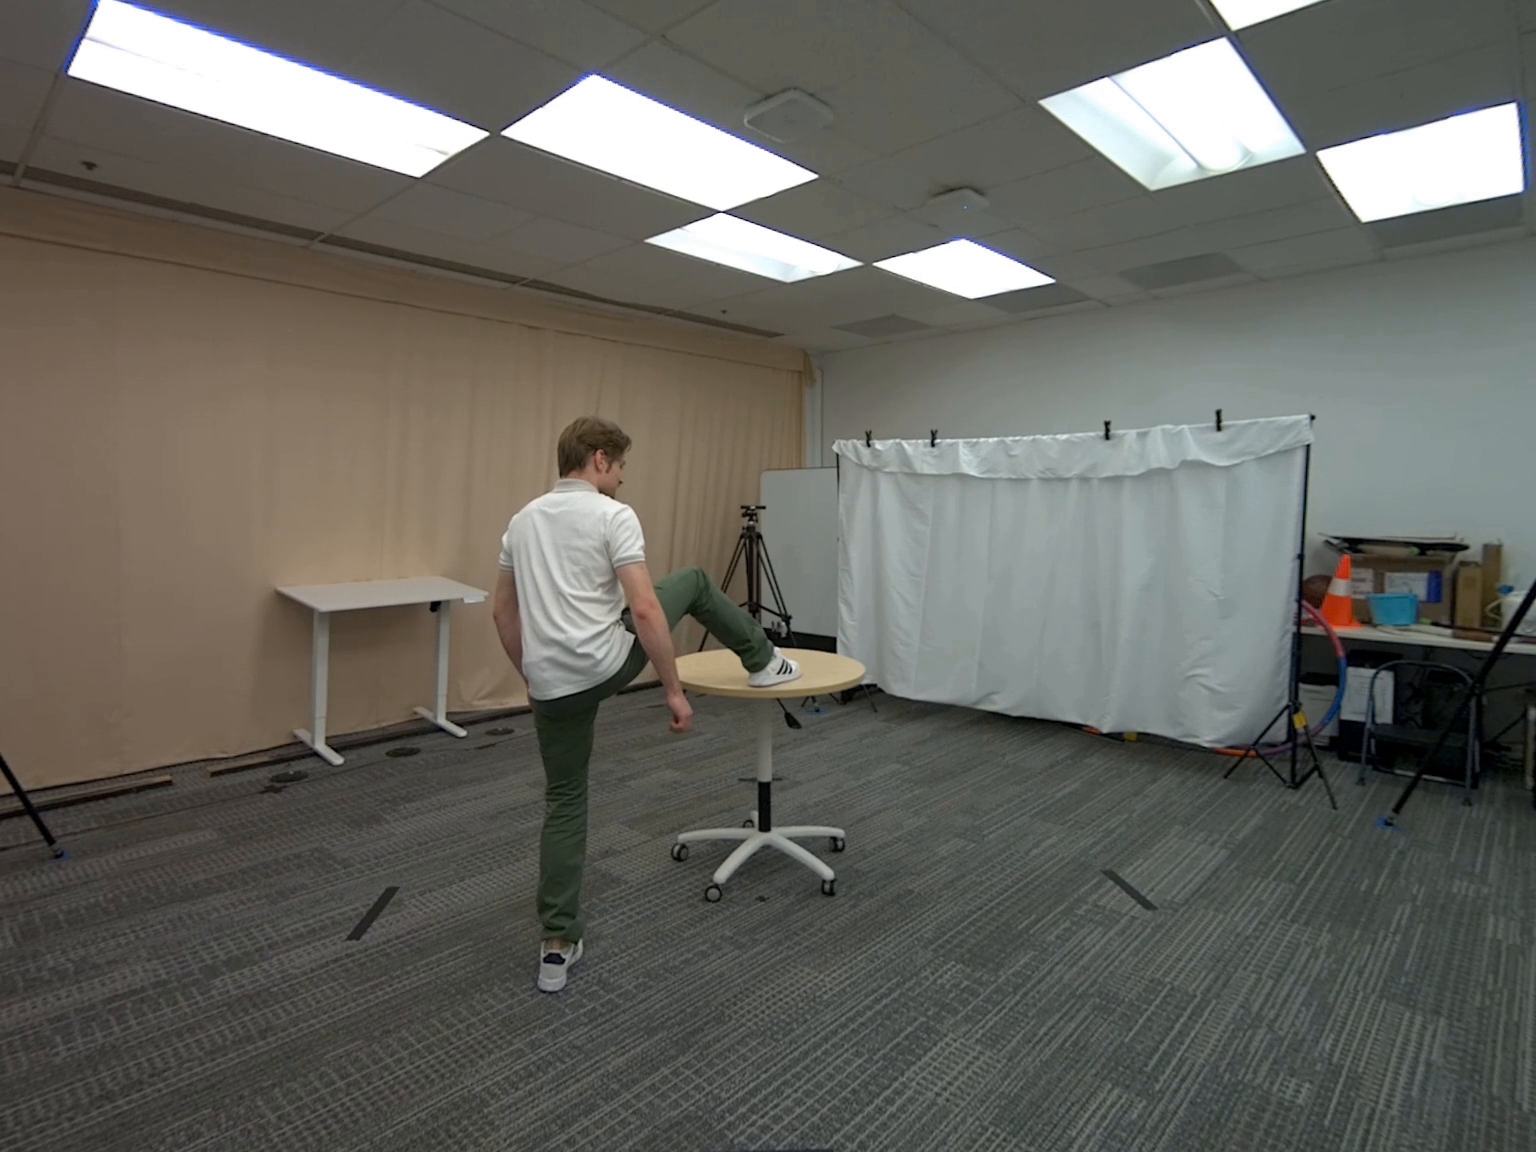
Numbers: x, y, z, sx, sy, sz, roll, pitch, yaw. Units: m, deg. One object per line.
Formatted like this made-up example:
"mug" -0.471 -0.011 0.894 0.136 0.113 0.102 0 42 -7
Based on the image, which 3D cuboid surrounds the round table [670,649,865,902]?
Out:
"round table" -0.009 0.736 3.236 0.763 0.792 0.767 0 4 -2
